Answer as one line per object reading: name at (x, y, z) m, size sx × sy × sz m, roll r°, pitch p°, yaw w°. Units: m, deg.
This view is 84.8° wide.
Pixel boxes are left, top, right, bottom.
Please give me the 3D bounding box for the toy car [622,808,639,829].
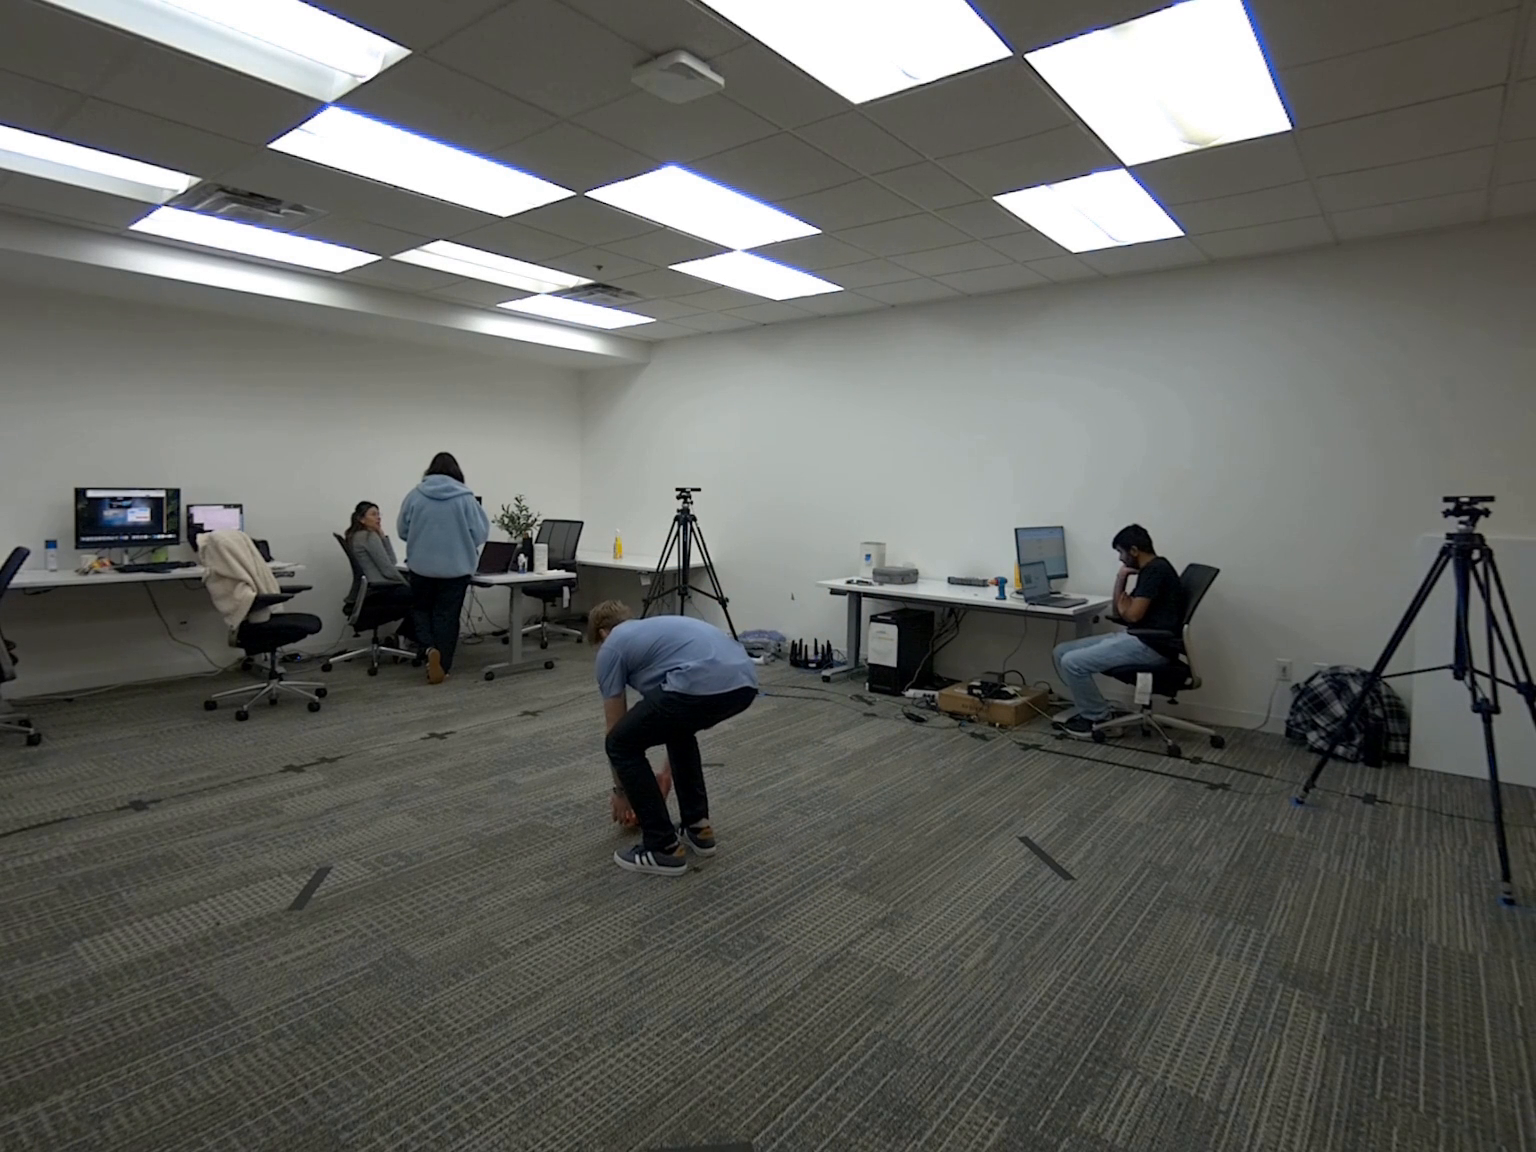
toy car at (-0.554, 0.958, 3.497) m, size 0.134 × 0.084 × 0.246 m, roll 6°, pitch -7°, yaw 26°
